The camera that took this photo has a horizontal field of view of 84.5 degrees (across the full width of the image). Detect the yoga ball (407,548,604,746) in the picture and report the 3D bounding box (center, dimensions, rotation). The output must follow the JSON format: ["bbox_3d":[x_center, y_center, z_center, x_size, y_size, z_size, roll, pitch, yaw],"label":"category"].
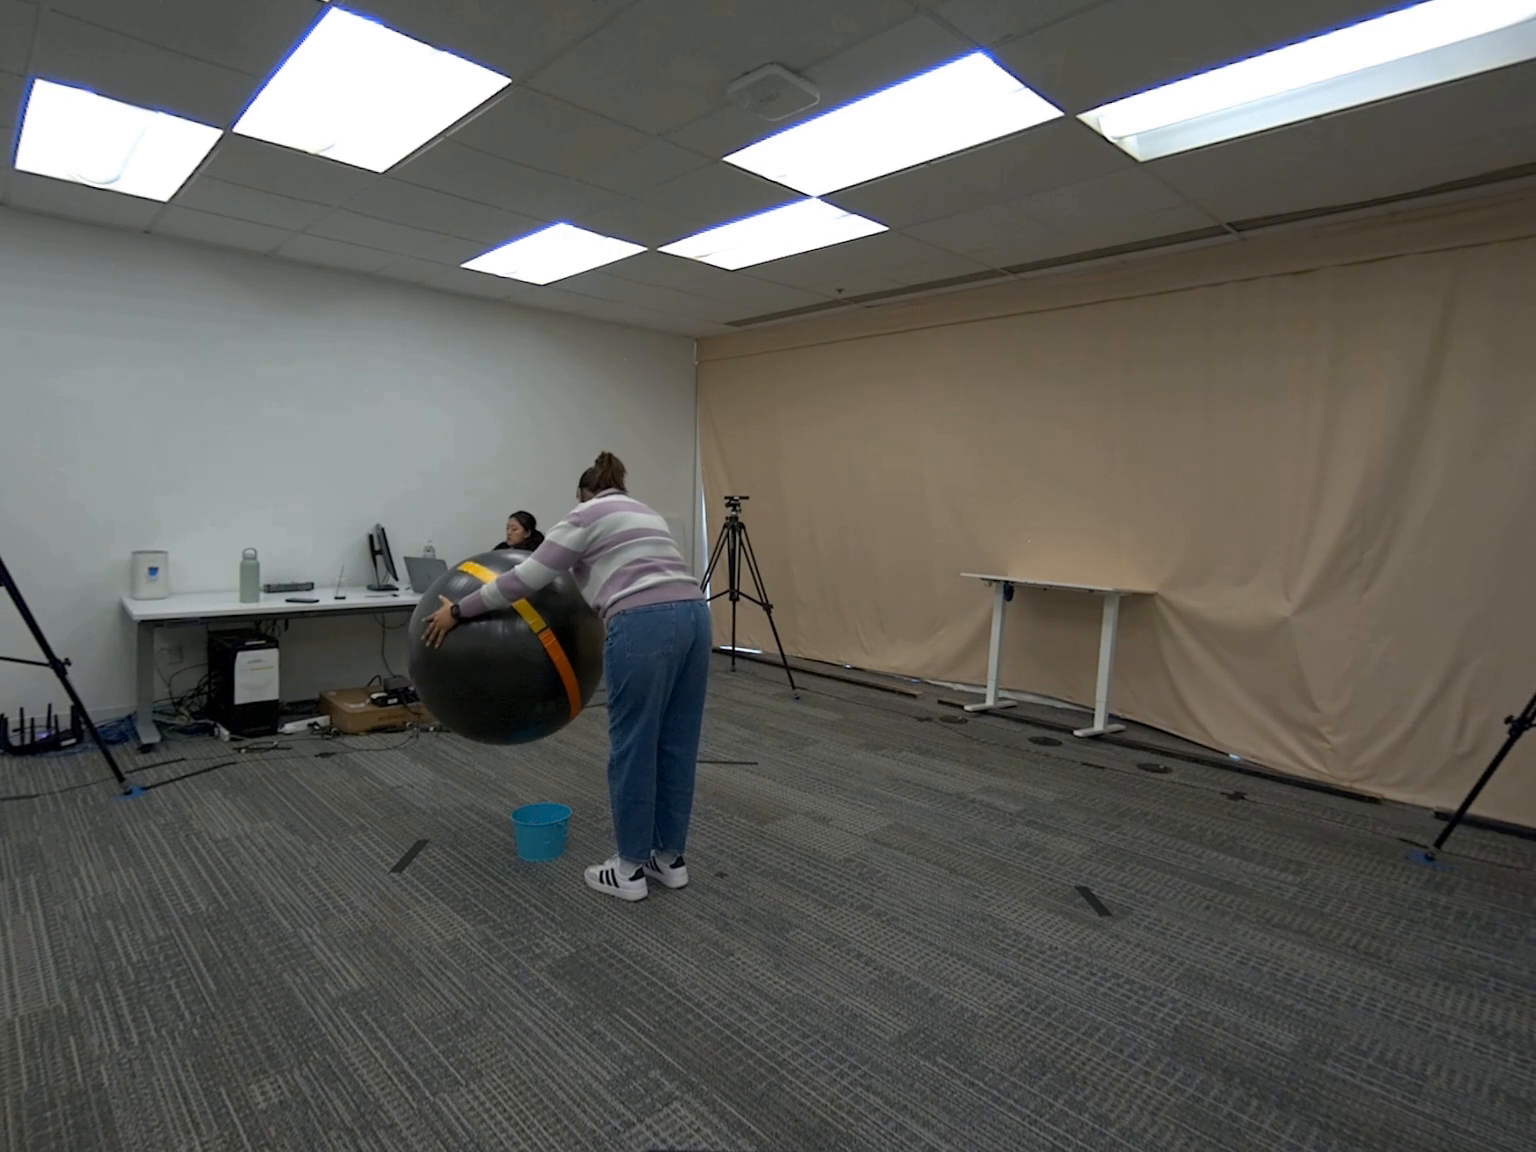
[{"bbox_3d":[-1.033,0.281,3.315,0.757,0.756,0.761,1,4,-1],"label":"yoga ball"}]
